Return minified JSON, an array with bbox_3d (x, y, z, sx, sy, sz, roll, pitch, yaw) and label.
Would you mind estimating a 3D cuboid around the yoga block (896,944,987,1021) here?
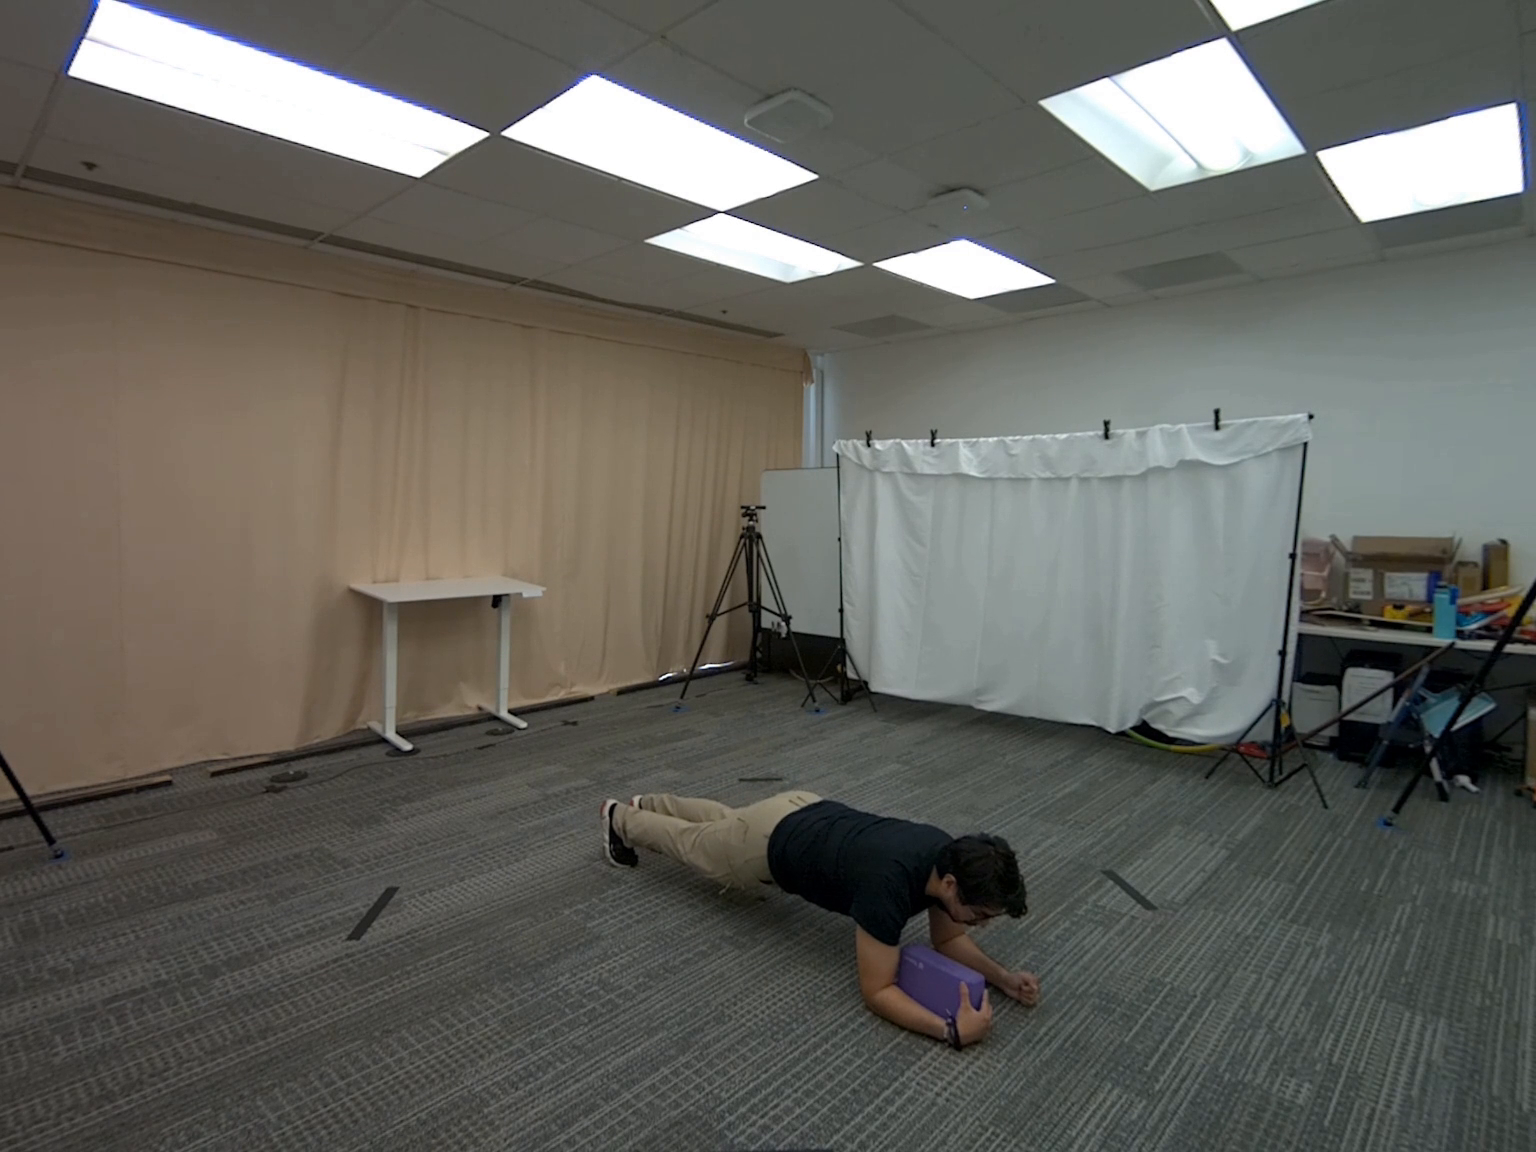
[{"bbox_3d":[0.468,1.124,2.286,0.074,0.149,0.237,7,1,-42],"label":"yoga block"}]
